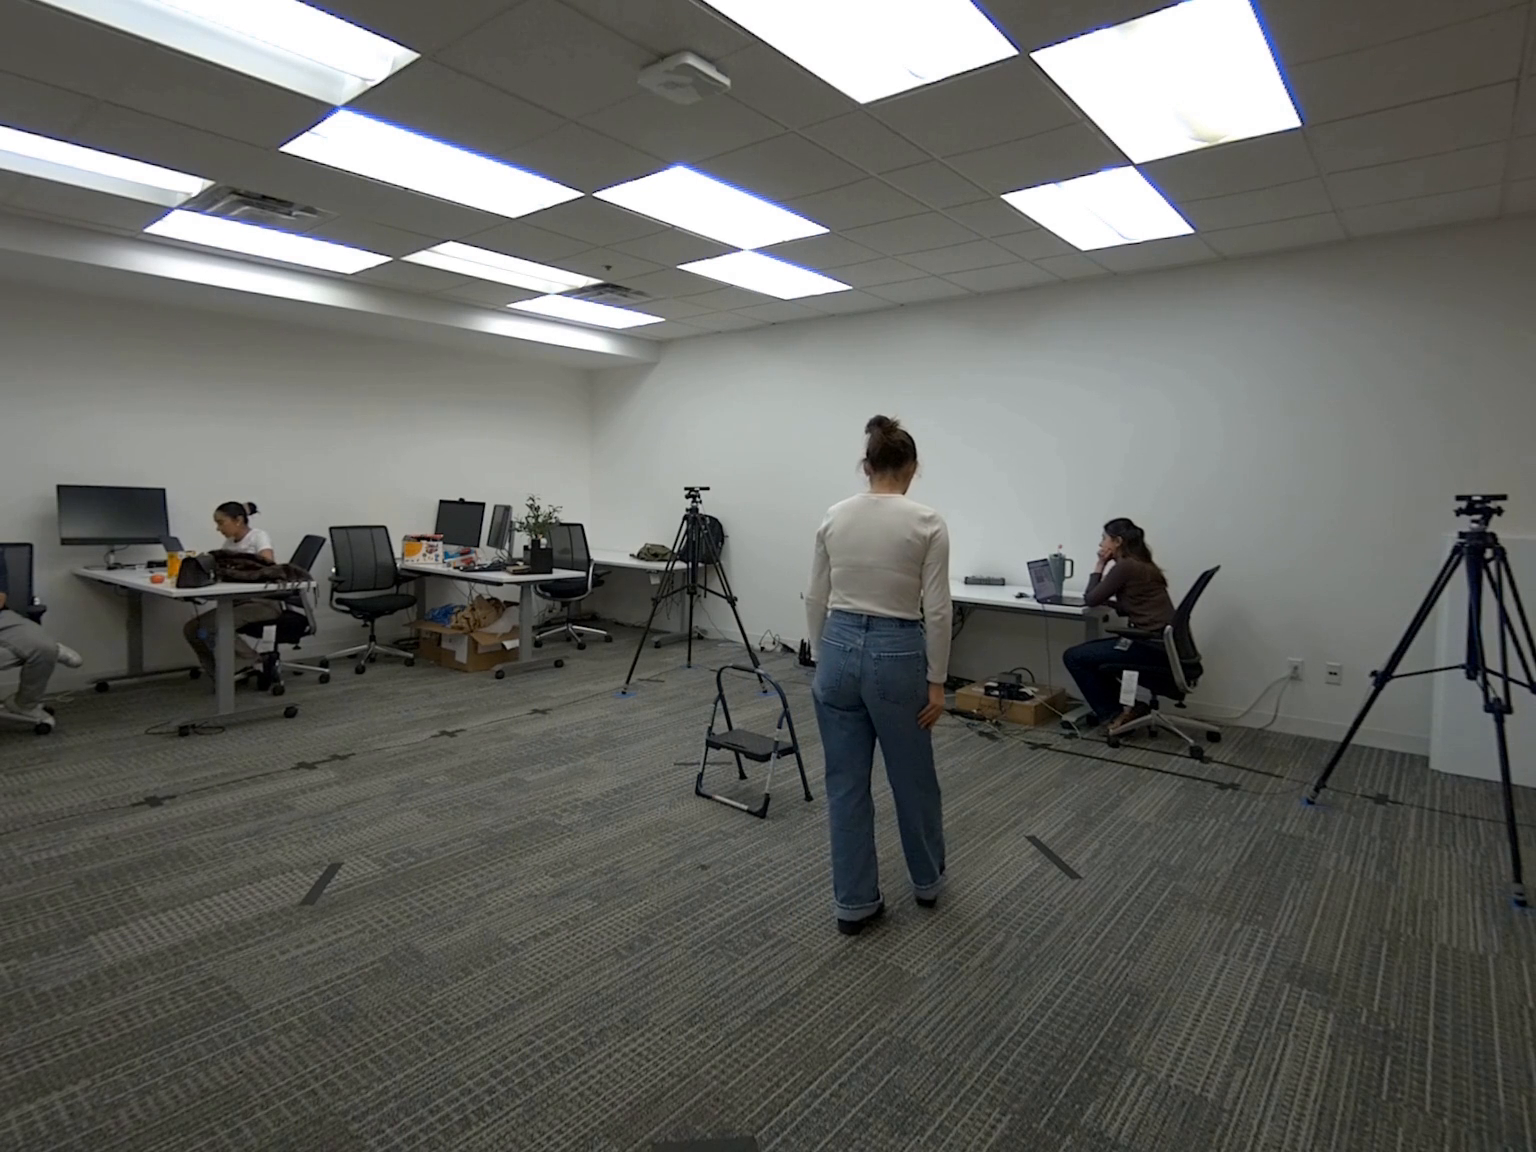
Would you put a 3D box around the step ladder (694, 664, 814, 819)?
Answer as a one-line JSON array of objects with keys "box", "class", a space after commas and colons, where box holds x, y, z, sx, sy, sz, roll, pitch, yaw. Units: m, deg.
[{"box": [-0.072, 0.692, 3.834, 0.445, 0.605, 0.339, 3, 4, 40], "class": "step ladder"}]
